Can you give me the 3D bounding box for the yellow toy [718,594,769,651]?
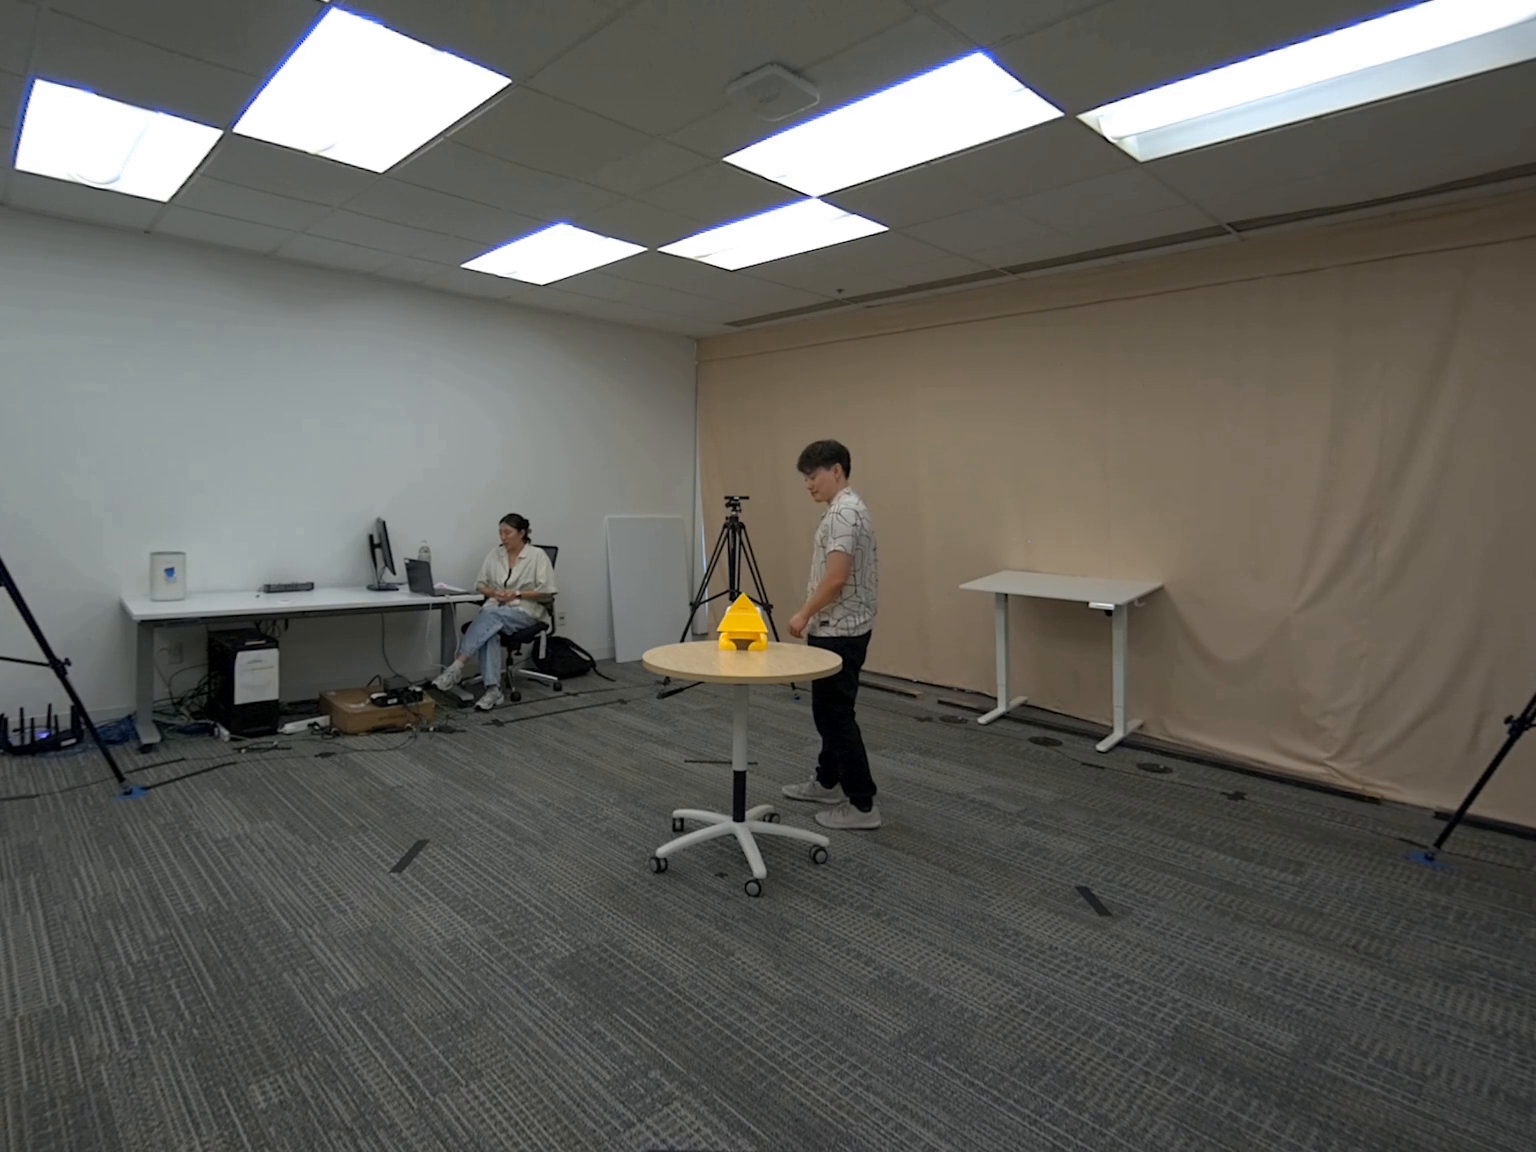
[{"bbox_3d":[-0.108,0.177,3.443,0.205,0.230,0.193,2,6,2],"label":"yellow toy"}]
